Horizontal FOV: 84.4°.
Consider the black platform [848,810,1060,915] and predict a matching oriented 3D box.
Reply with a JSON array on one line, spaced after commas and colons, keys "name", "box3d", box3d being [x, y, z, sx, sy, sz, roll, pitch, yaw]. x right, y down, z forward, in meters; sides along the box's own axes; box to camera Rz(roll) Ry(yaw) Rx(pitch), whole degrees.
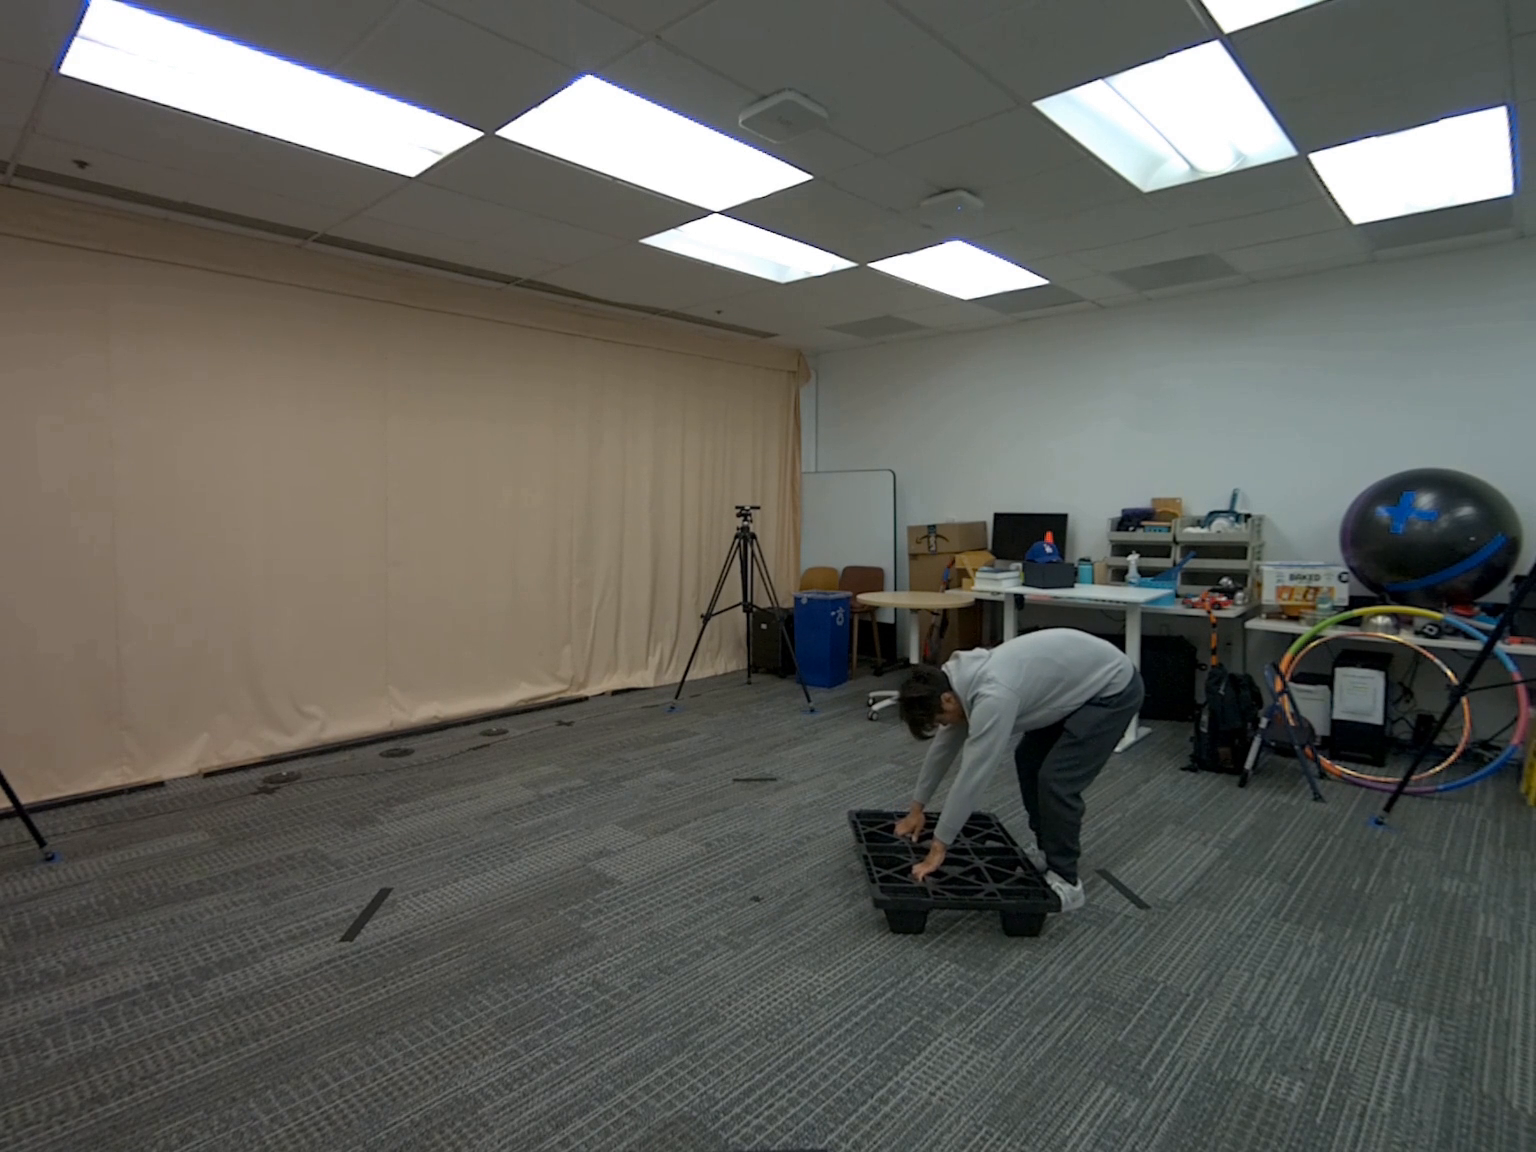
[{"name": "black platform", "box3d": [0.639, 1.066, 3.086, 0.606, 0.143, 0.806, 1, 5, 0]}]
